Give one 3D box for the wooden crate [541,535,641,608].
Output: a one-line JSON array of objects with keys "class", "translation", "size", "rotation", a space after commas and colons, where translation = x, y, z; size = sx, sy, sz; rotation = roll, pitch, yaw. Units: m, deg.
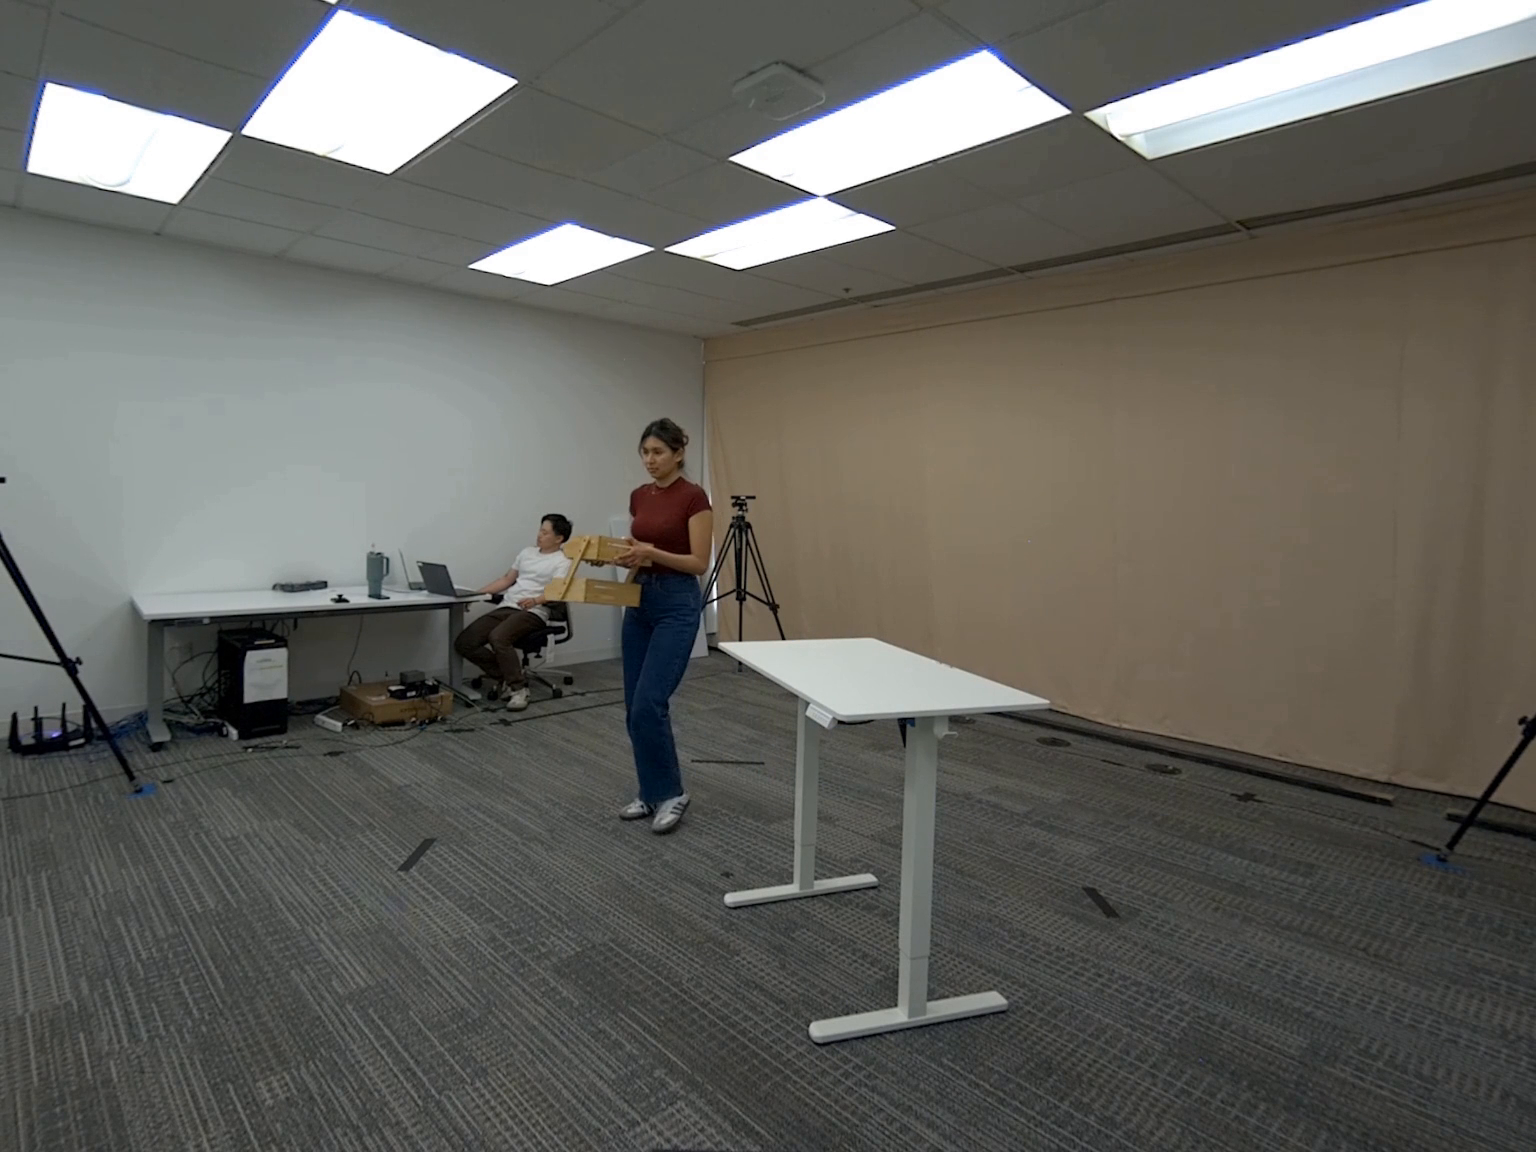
[{"class": "wooden crate", "translation": [-0.691, -0.020, 3.399], "size": [0.309, 0.274, 0.316], "rotation": [4, -3, 38]}]
